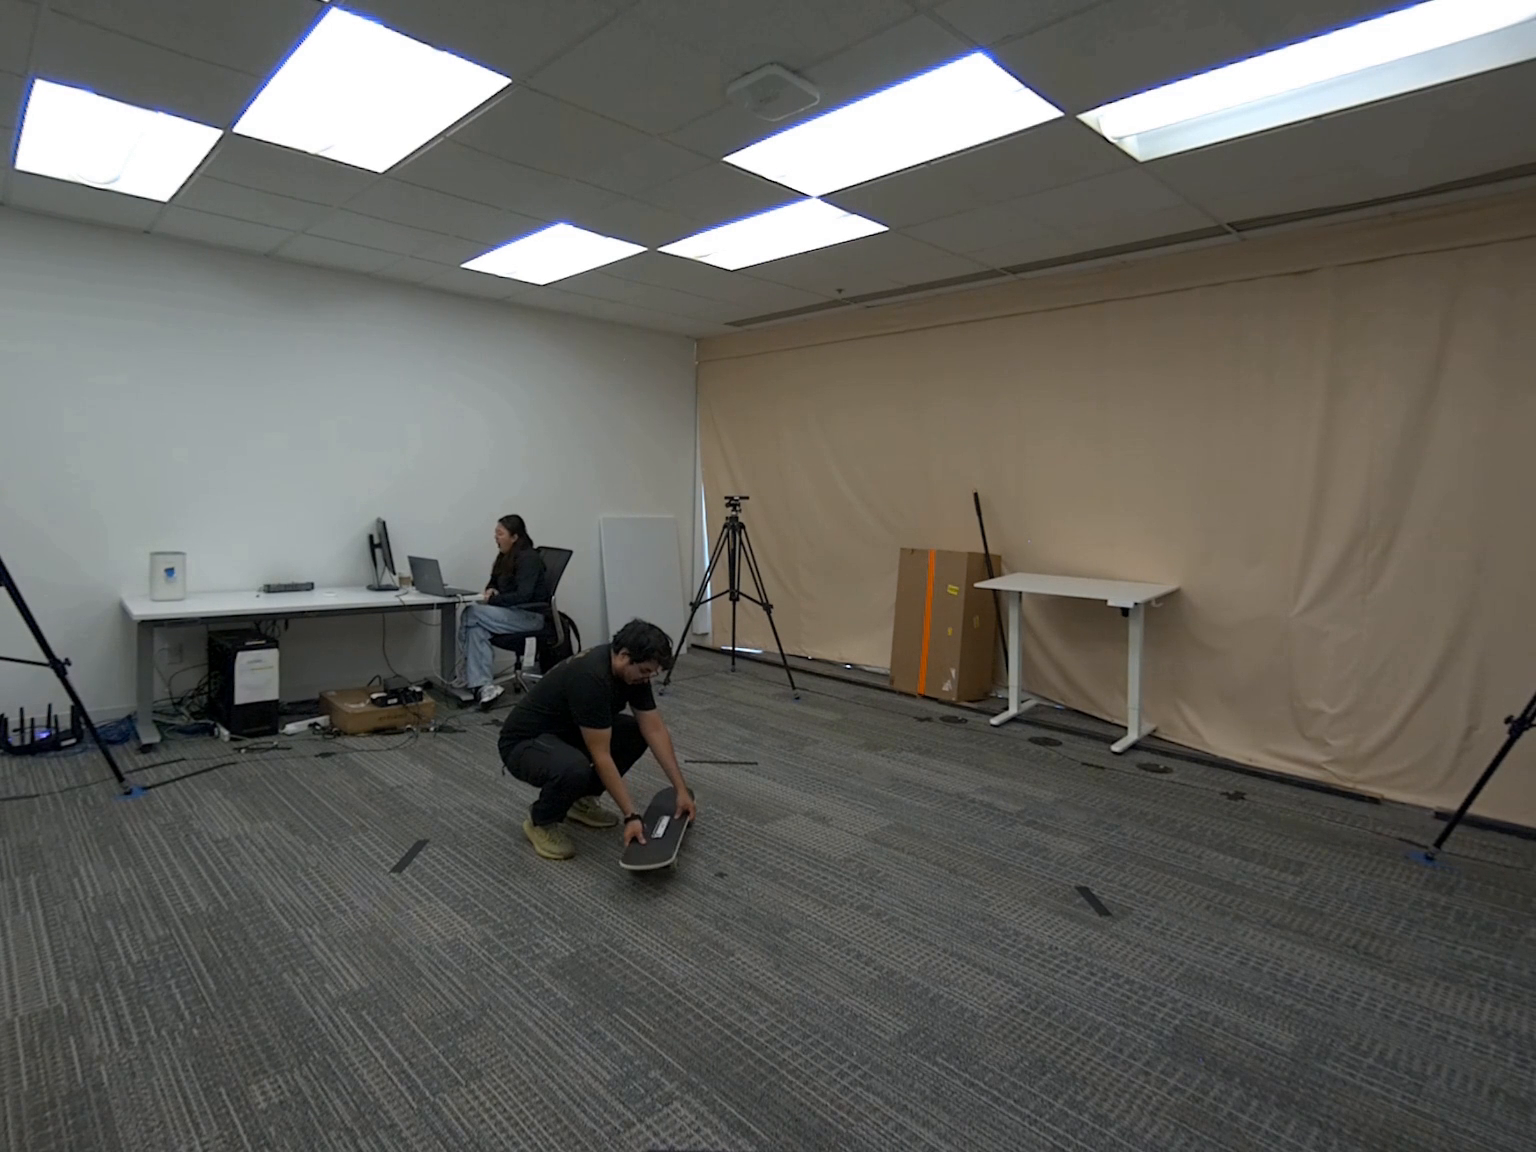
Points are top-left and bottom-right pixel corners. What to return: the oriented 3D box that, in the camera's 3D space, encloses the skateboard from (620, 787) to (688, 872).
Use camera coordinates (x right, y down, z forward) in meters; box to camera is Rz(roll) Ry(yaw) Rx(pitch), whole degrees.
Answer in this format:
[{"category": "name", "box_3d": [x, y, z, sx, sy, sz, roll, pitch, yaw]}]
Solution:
[{"category": "skateboard", "box_3d": [-0.421, 1.004, 3.264, 0.194, 0.110, 0.785, -3, 6, 3]}]
